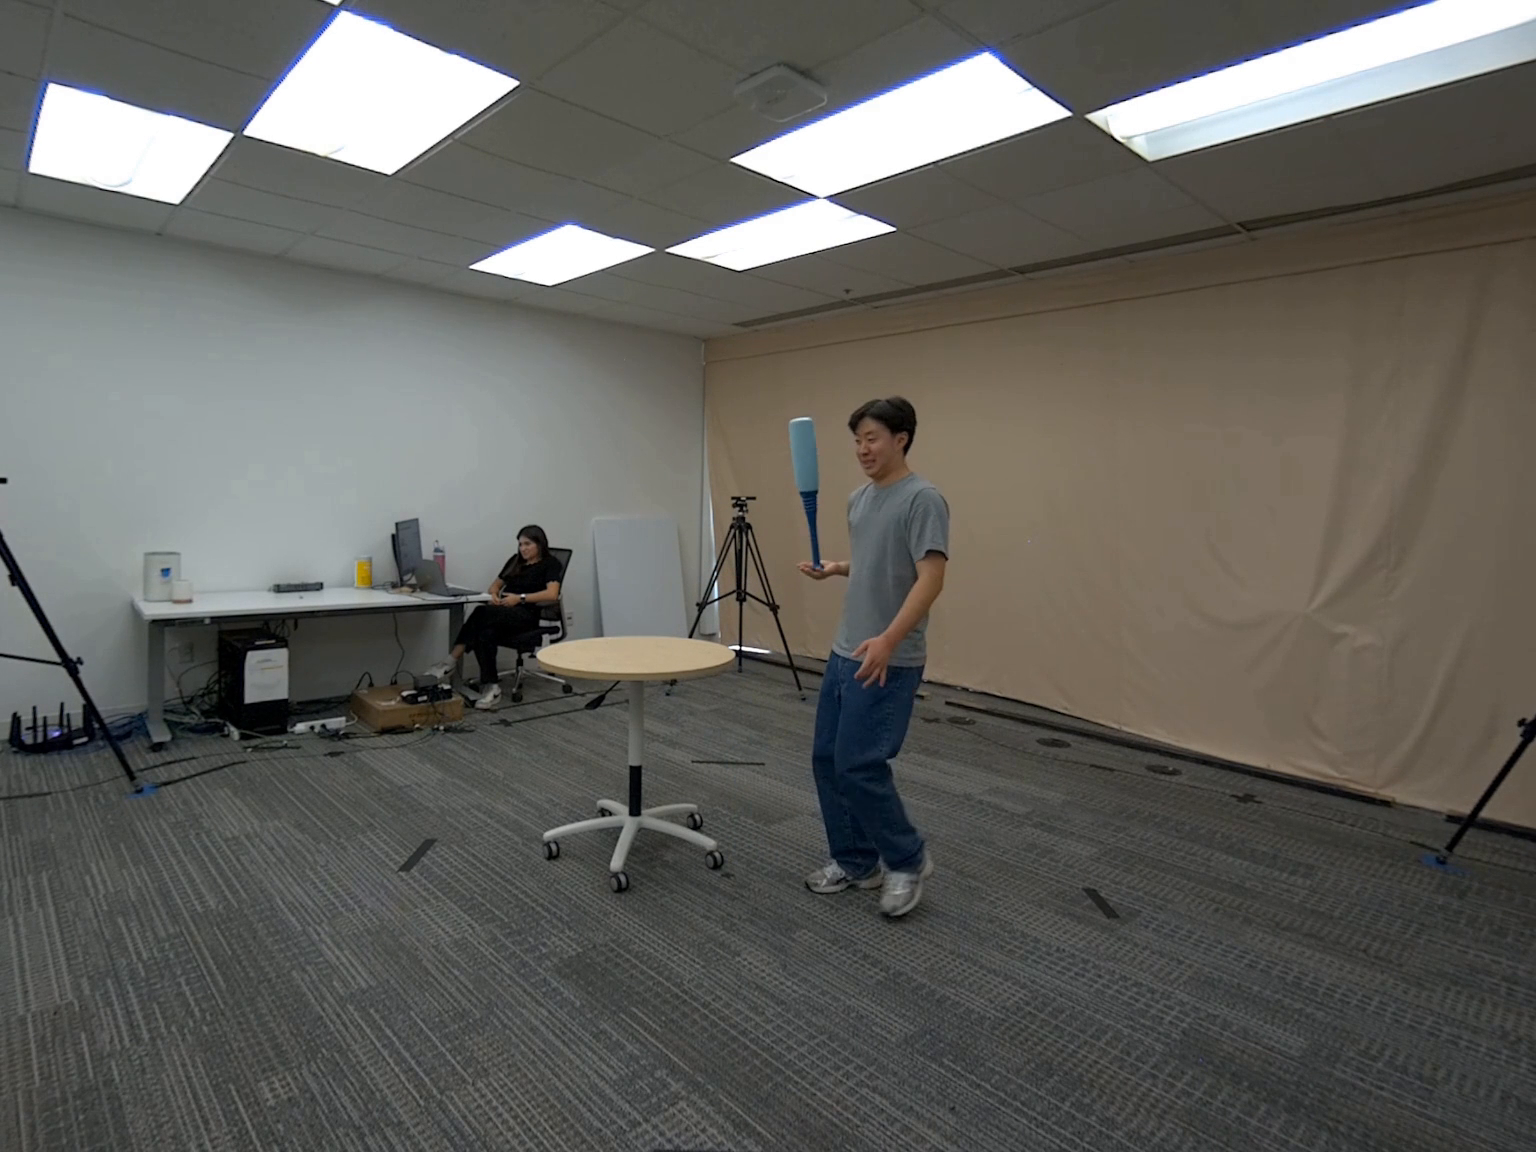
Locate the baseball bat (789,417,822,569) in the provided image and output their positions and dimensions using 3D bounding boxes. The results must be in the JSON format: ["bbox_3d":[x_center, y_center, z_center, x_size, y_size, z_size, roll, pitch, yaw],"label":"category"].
[{"bbox_3d":[0.137,-0.273,2.932,0.089,0.539,0.089,-5,8,-1],"label":"baseball bat"}]
